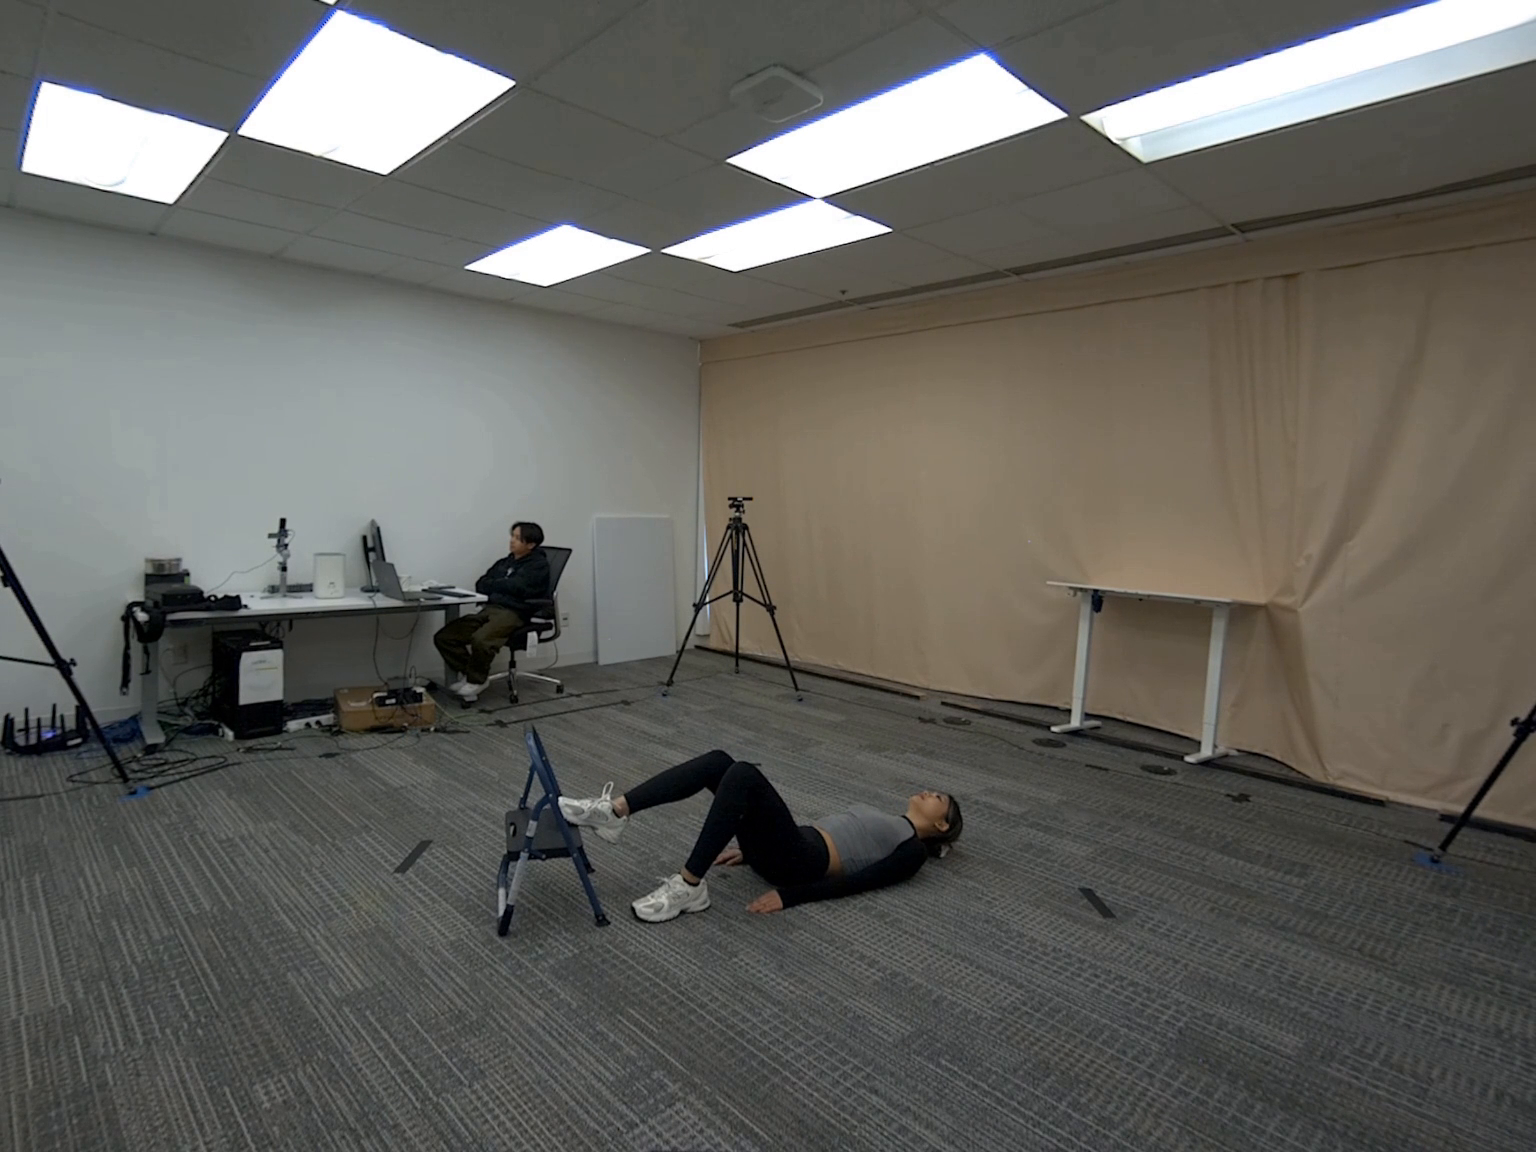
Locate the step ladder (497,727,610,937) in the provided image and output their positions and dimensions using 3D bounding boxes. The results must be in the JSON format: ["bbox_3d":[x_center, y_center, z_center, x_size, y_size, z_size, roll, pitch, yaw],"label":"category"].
[{"bbox_3d":[-0.745,0.818,2.860,0.344,0.605,0.438,1,4,-19],"label":"step ladder"}]
